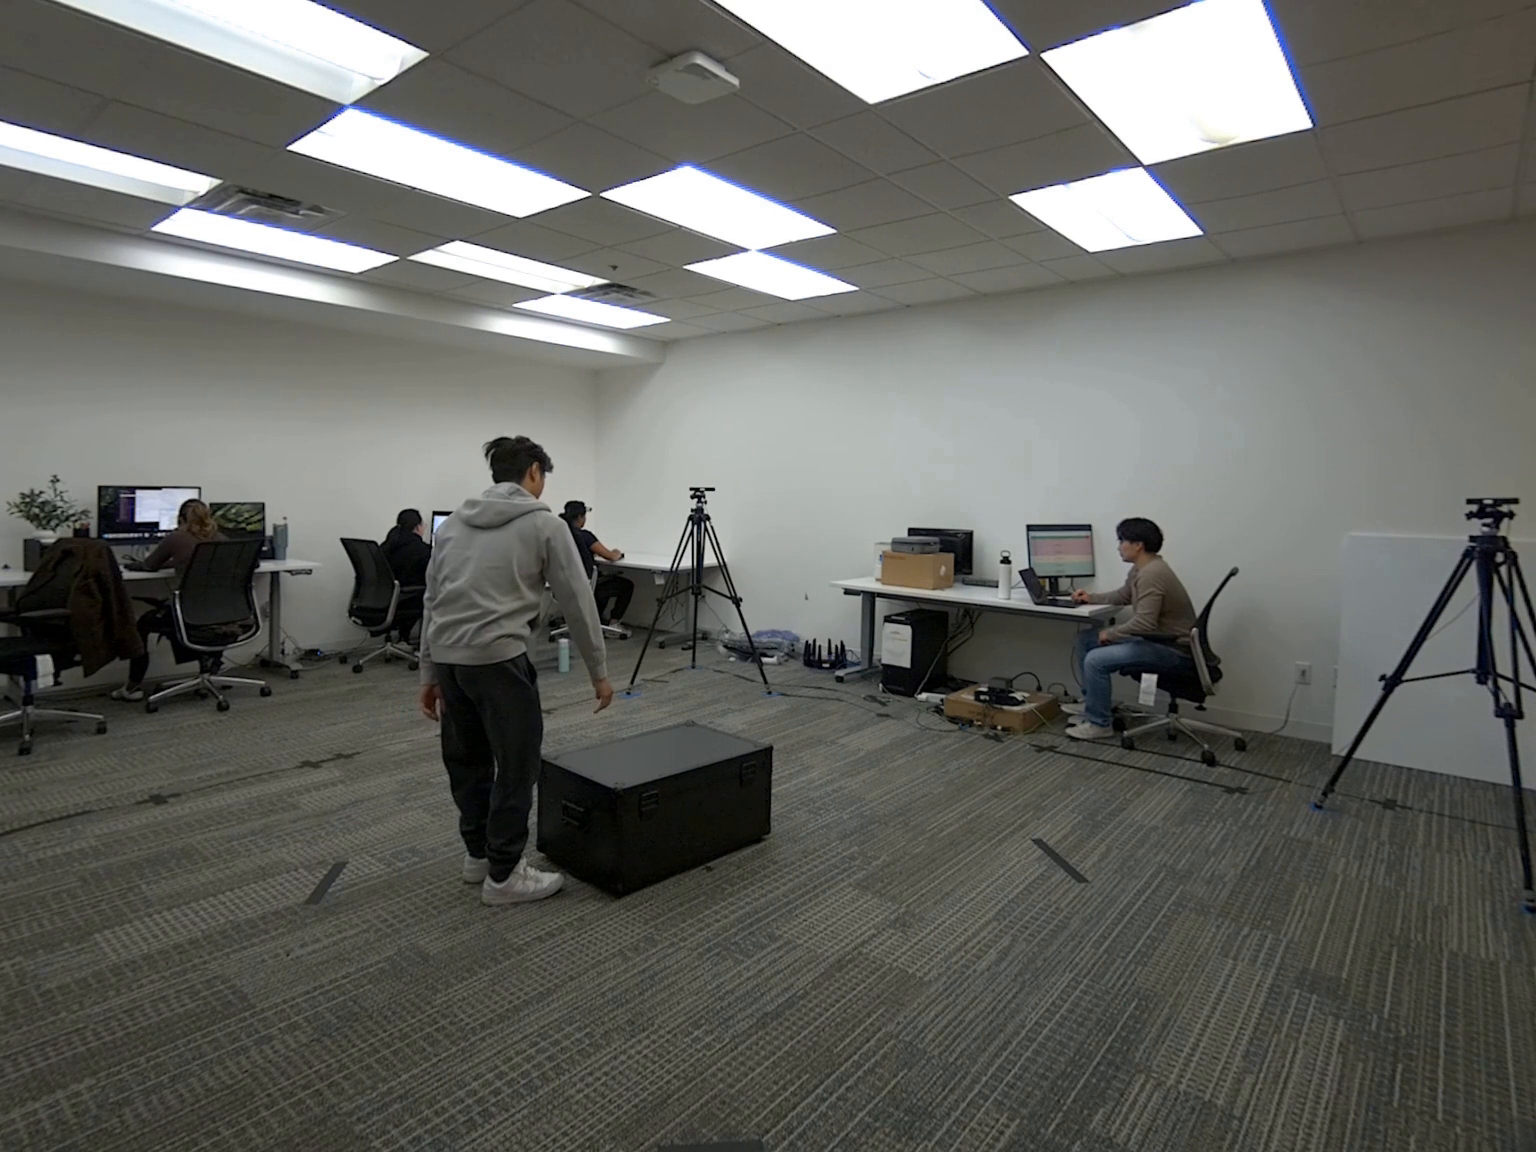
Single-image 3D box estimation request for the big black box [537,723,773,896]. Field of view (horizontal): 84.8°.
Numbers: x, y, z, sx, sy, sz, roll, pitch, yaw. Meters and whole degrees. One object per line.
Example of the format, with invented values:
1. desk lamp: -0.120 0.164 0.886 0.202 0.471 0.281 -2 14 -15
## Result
1. big black box: -0.409 0.855 3.292 0.539 0.394 0.836 6 7 43
